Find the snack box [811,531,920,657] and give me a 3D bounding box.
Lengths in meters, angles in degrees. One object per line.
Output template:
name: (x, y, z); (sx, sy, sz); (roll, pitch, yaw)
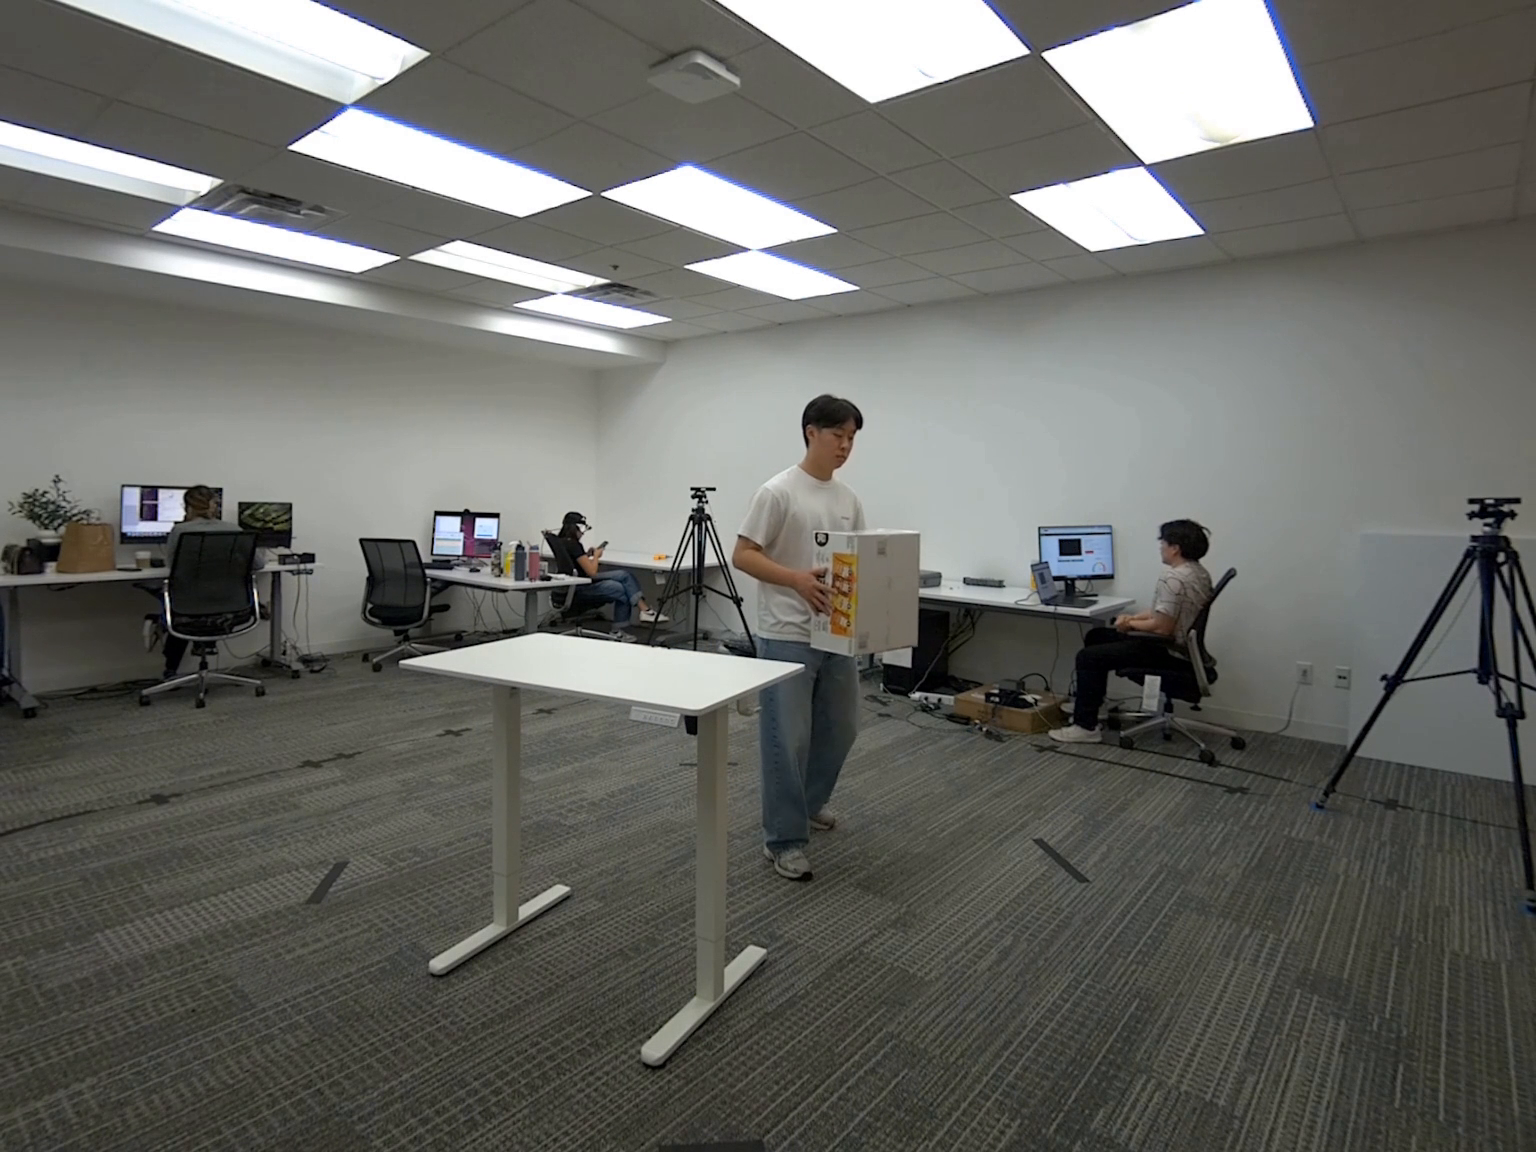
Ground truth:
snack box: (0.341, 0.051, 2.975); (0.330, 0.404, 0.212); (-3, 5, -40)
